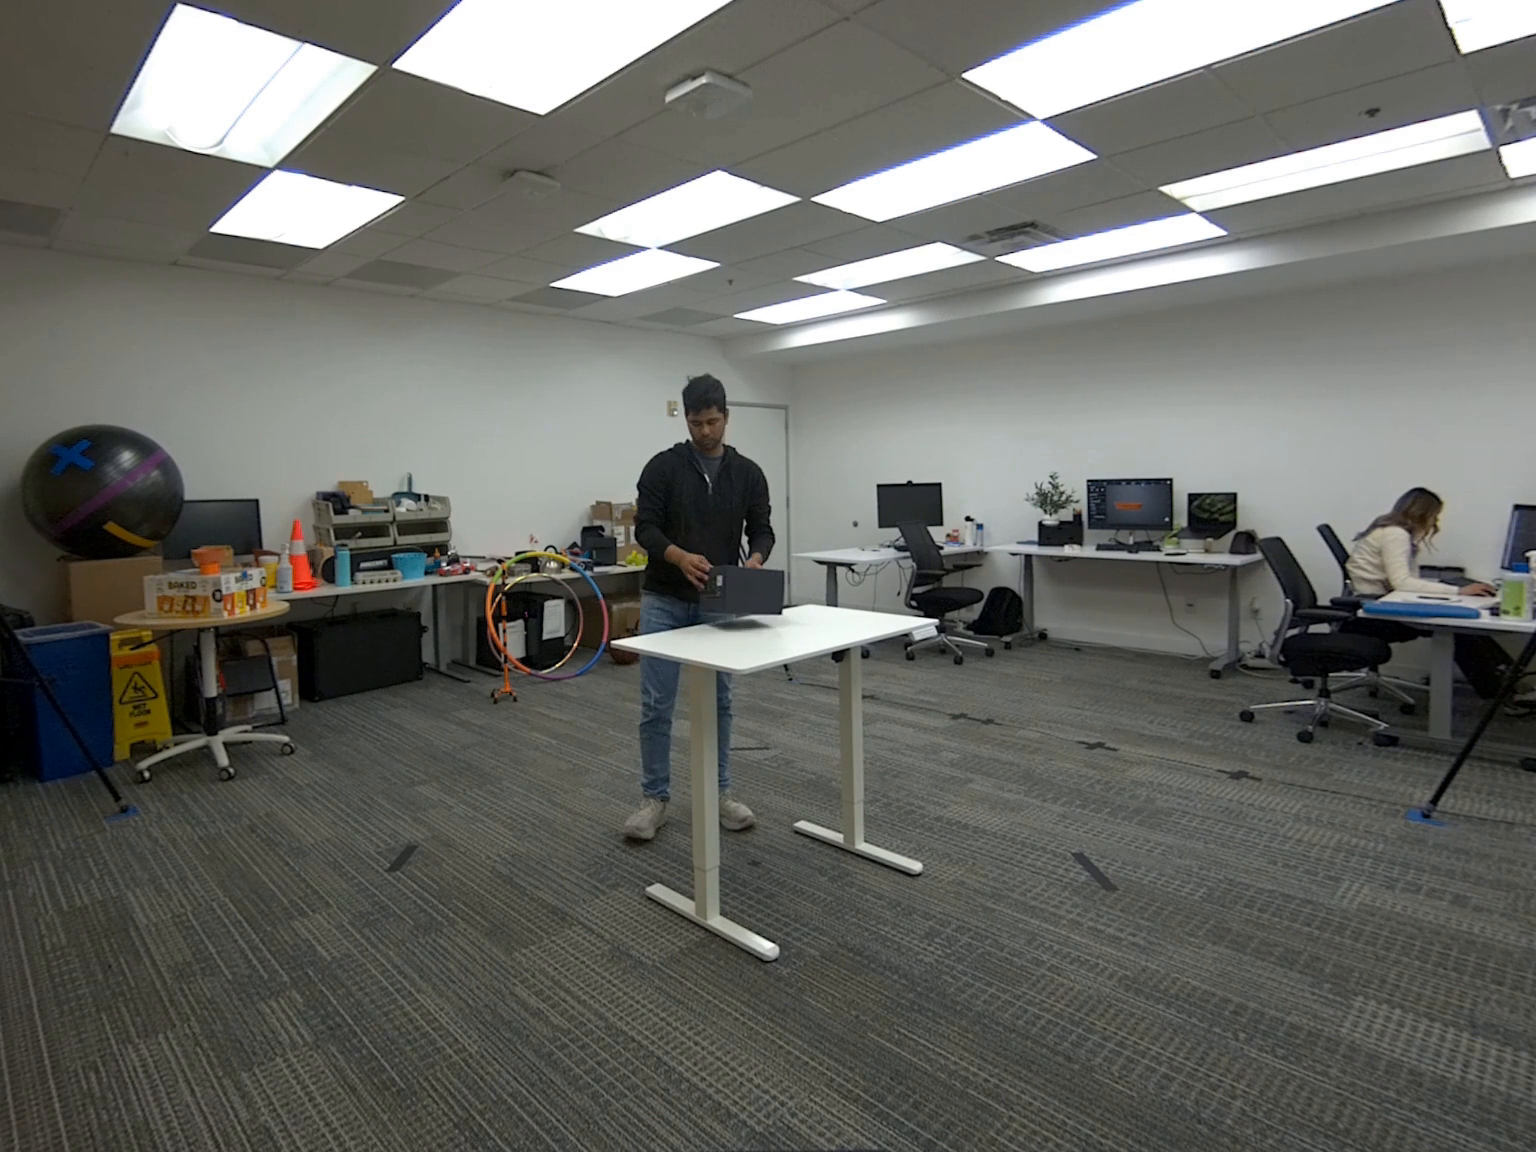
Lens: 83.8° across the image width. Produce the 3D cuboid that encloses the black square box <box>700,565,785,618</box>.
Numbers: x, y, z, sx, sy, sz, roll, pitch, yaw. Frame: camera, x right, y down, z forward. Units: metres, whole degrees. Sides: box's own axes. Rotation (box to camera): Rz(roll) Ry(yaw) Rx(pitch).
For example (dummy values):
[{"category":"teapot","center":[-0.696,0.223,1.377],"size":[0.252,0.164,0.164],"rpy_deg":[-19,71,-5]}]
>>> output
[{"category":"black square box","center":[-0.105,0.060,3.013],"size":[0.223,0.157,0.221],"rpy_deg":[6,-5,-24]}]
